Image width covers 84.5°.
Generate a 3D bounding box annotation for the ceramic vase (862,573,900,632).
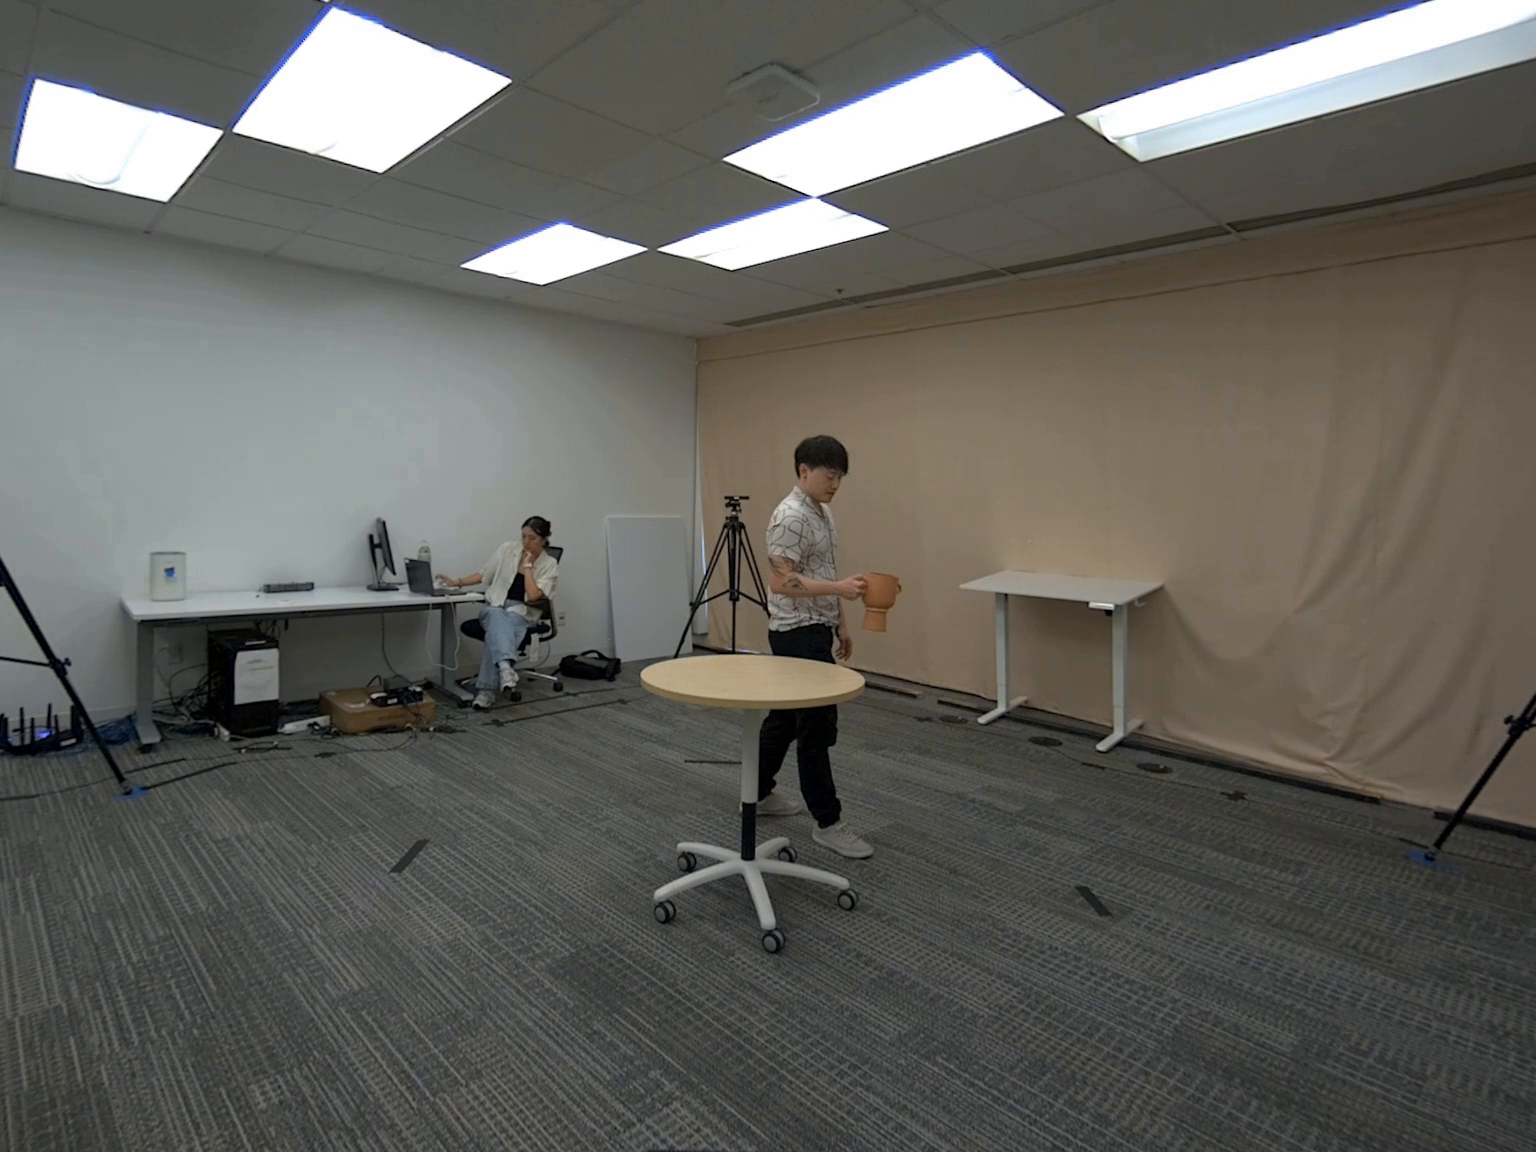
[{"bbox_3d":[0.422,0.096,3.300,0.161,0.219,0.133,8,2,15],"label":"ceramic vase"}]
